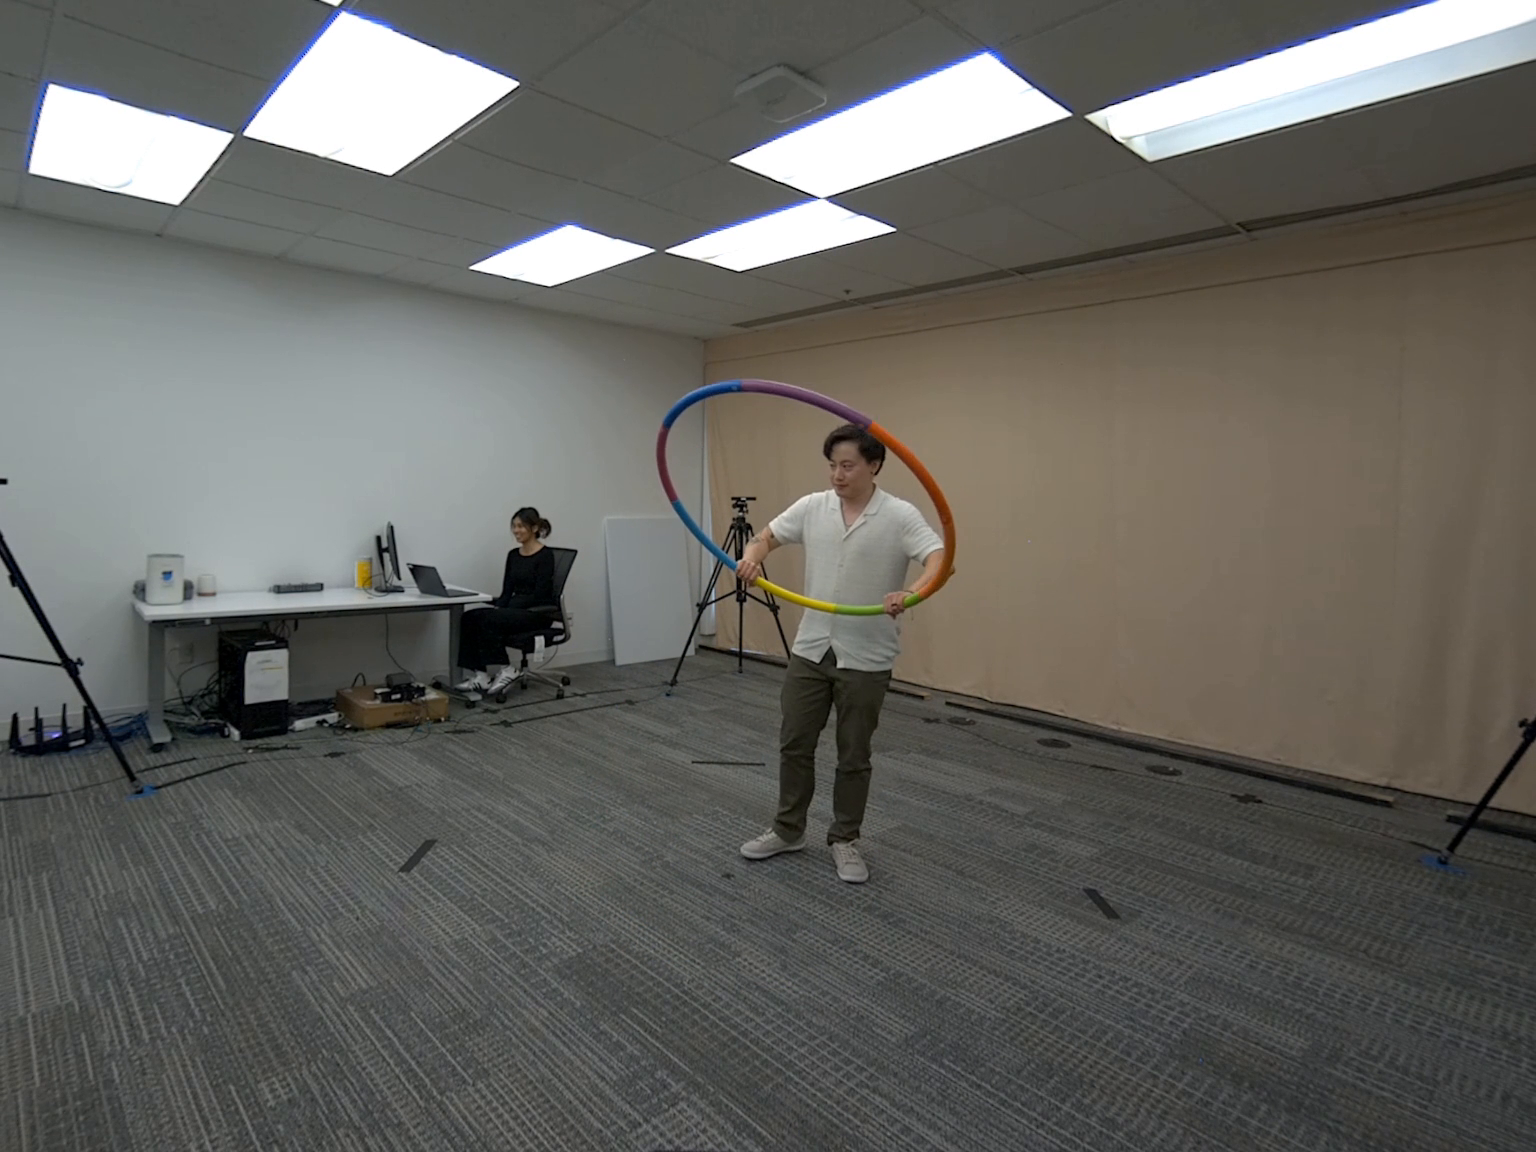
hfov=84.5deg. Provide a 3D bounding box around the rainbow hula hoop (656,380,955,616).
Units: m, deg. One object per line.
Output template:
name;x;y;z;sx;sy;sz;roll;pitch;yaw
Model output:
rainbow hula hoop;0.079;-0.201;2.608;0.993;0.036;0.959;23;-33;14
